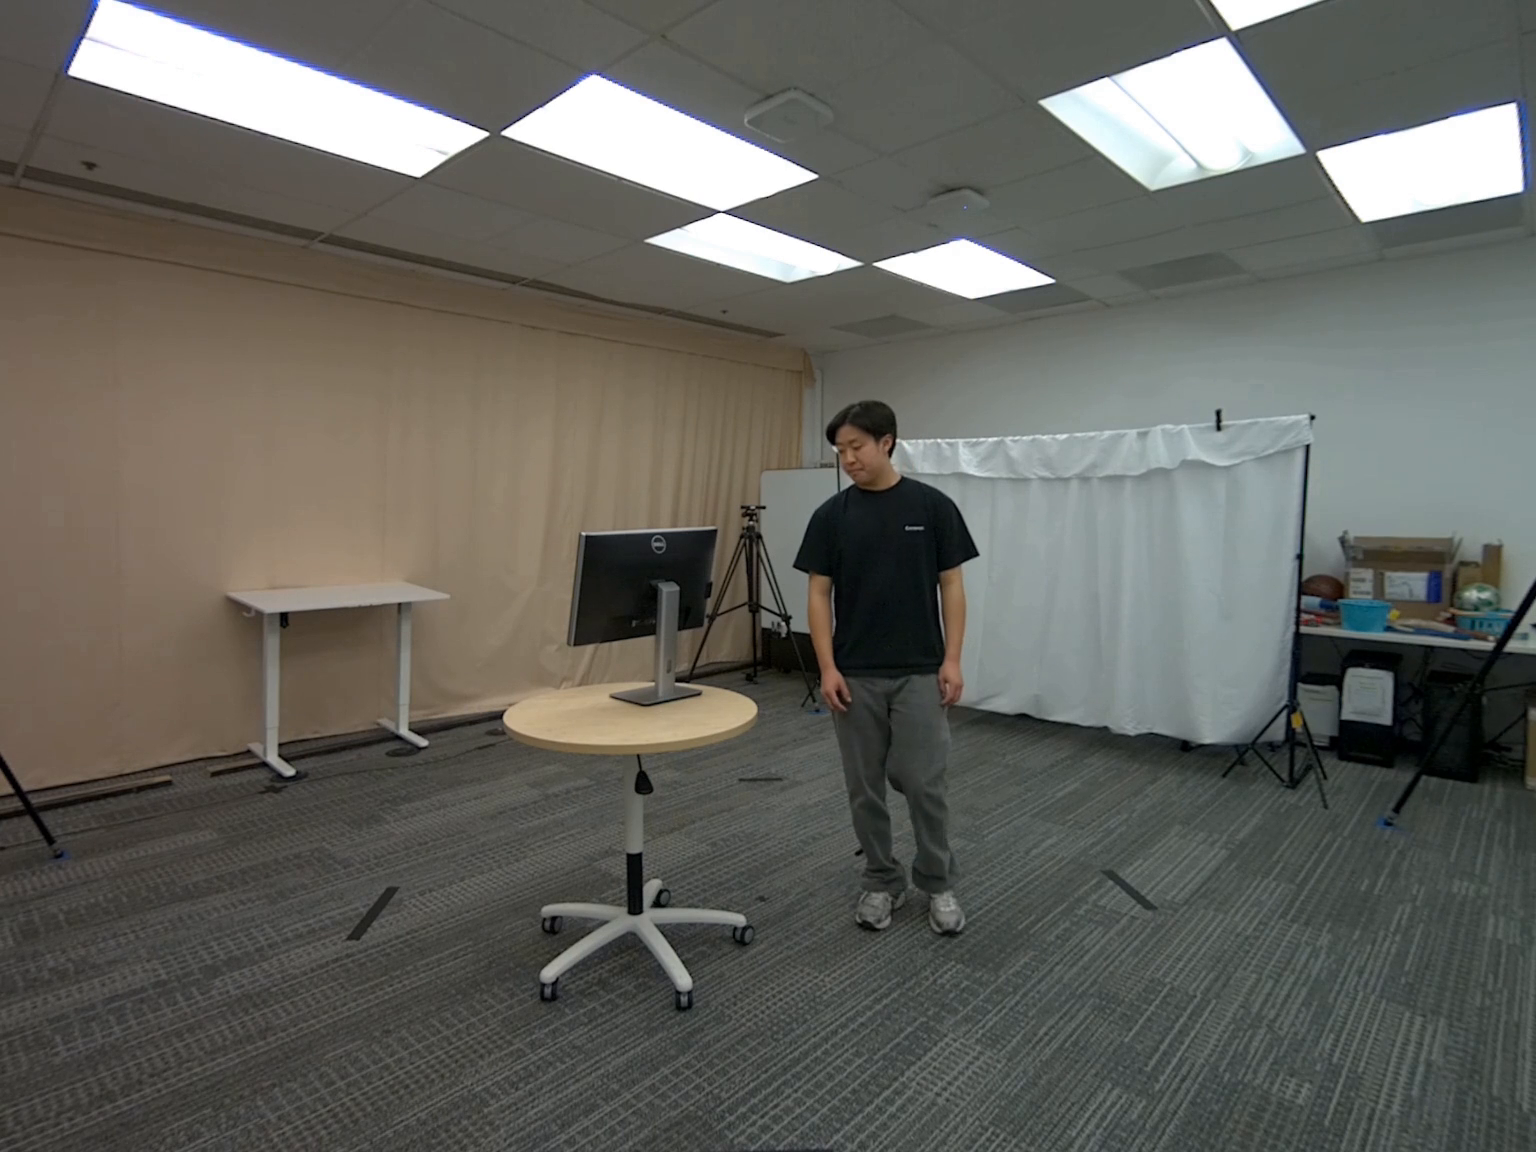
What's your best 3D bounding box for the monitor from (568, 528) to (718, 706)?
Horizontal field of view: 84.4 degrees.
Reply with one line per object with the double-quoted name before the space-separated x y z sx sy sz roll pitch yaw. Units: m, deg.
"monitor" -0.348 0.129 2.705 0.217 0.551 0.548 12 11 43
